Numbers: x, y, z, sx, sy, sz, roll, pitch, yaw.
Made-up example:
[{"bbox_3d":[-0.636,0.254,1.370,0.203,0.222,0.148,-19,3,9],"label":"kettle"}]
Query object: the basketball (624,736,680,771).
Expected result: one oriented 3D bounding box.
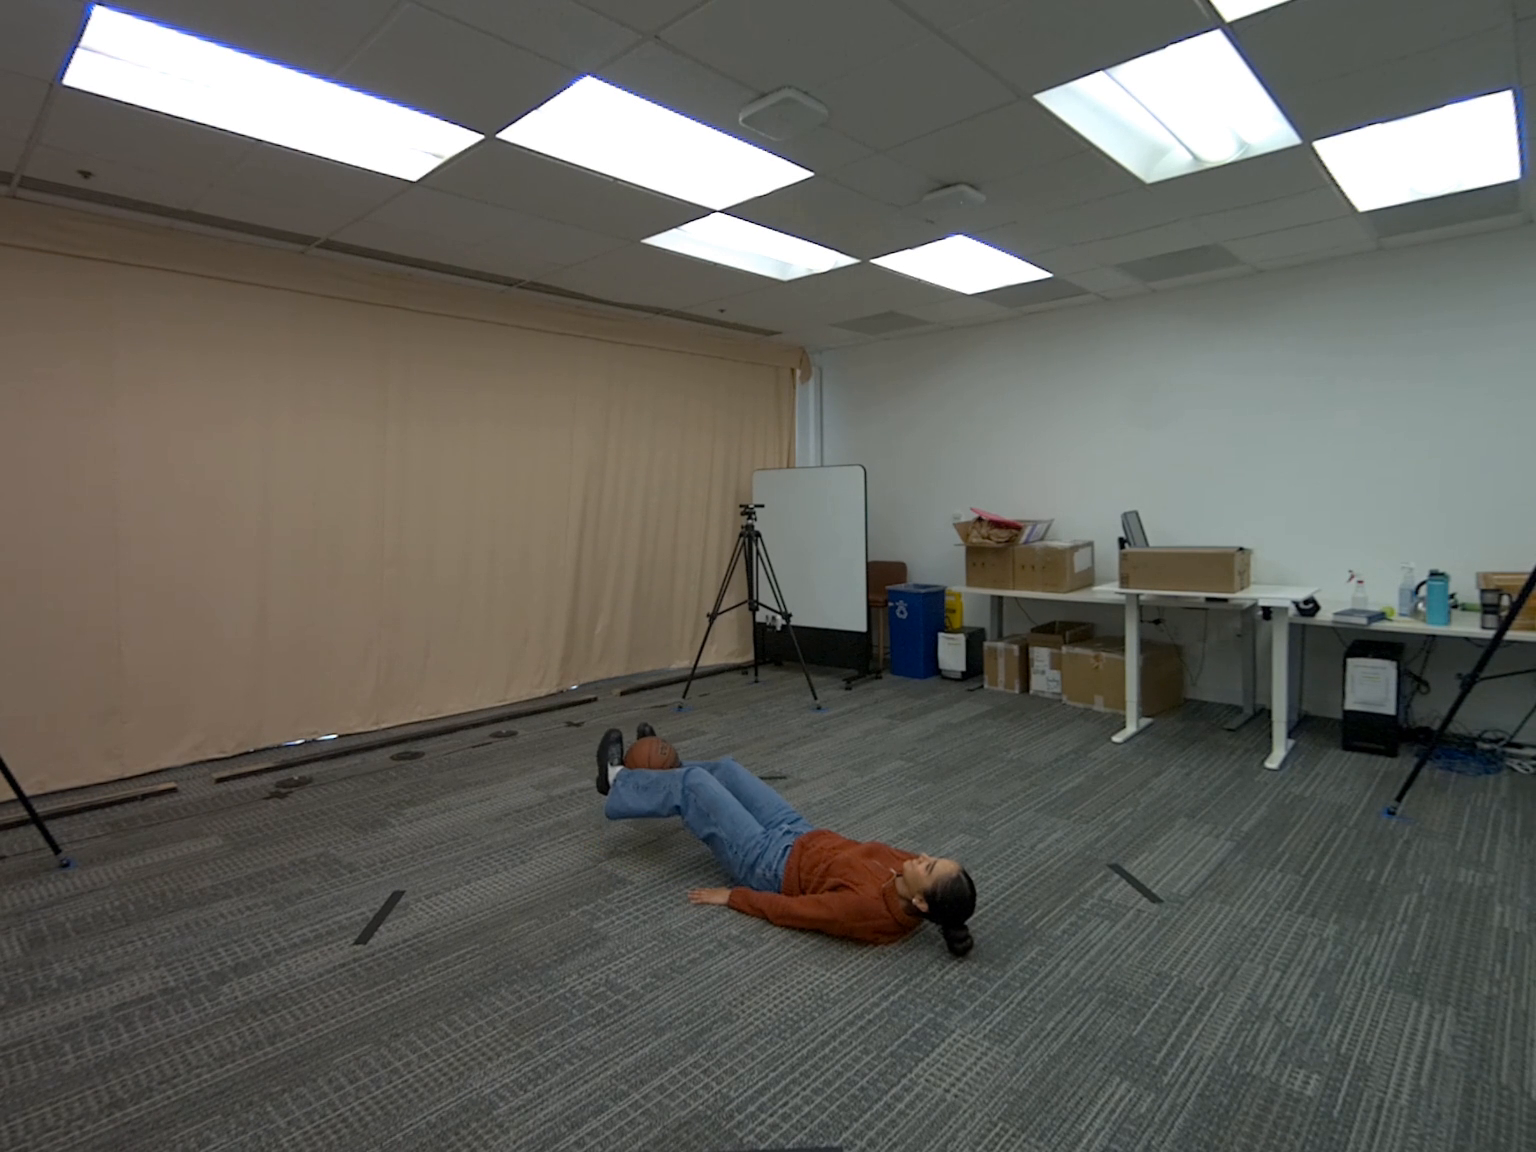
[{"bbox_3d":[-0.479,0.786,3.496,0.236,0.235,0.237,-1,4,-2],"label":"basketball"}]
